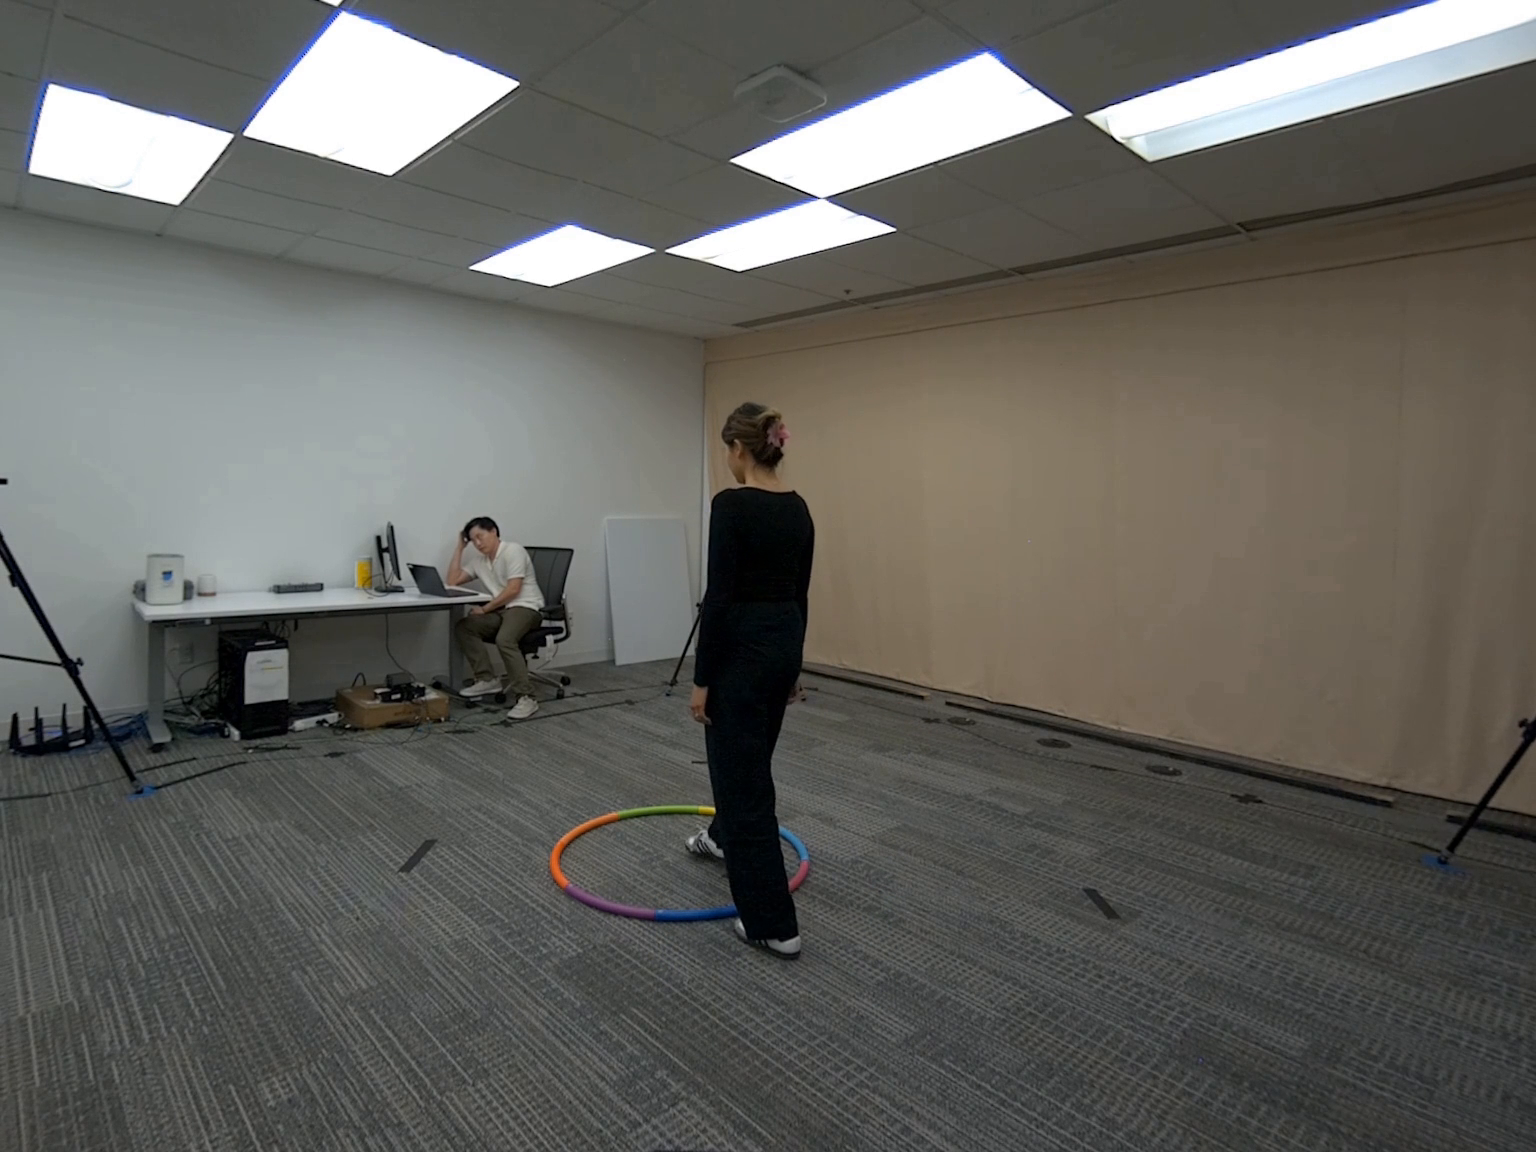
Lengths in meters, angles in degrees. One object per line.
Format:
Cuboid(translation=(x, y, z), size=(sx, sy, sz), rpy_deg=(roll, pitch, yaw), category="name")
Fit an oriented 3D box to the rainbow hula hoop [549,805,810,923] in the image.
Cuboid(translation=(-0.340, 1.065, 3.242), size=(0.978, 0.035, 0.982), rpy_deg=(1, 5, -1), category="rainbow hula hoop")
